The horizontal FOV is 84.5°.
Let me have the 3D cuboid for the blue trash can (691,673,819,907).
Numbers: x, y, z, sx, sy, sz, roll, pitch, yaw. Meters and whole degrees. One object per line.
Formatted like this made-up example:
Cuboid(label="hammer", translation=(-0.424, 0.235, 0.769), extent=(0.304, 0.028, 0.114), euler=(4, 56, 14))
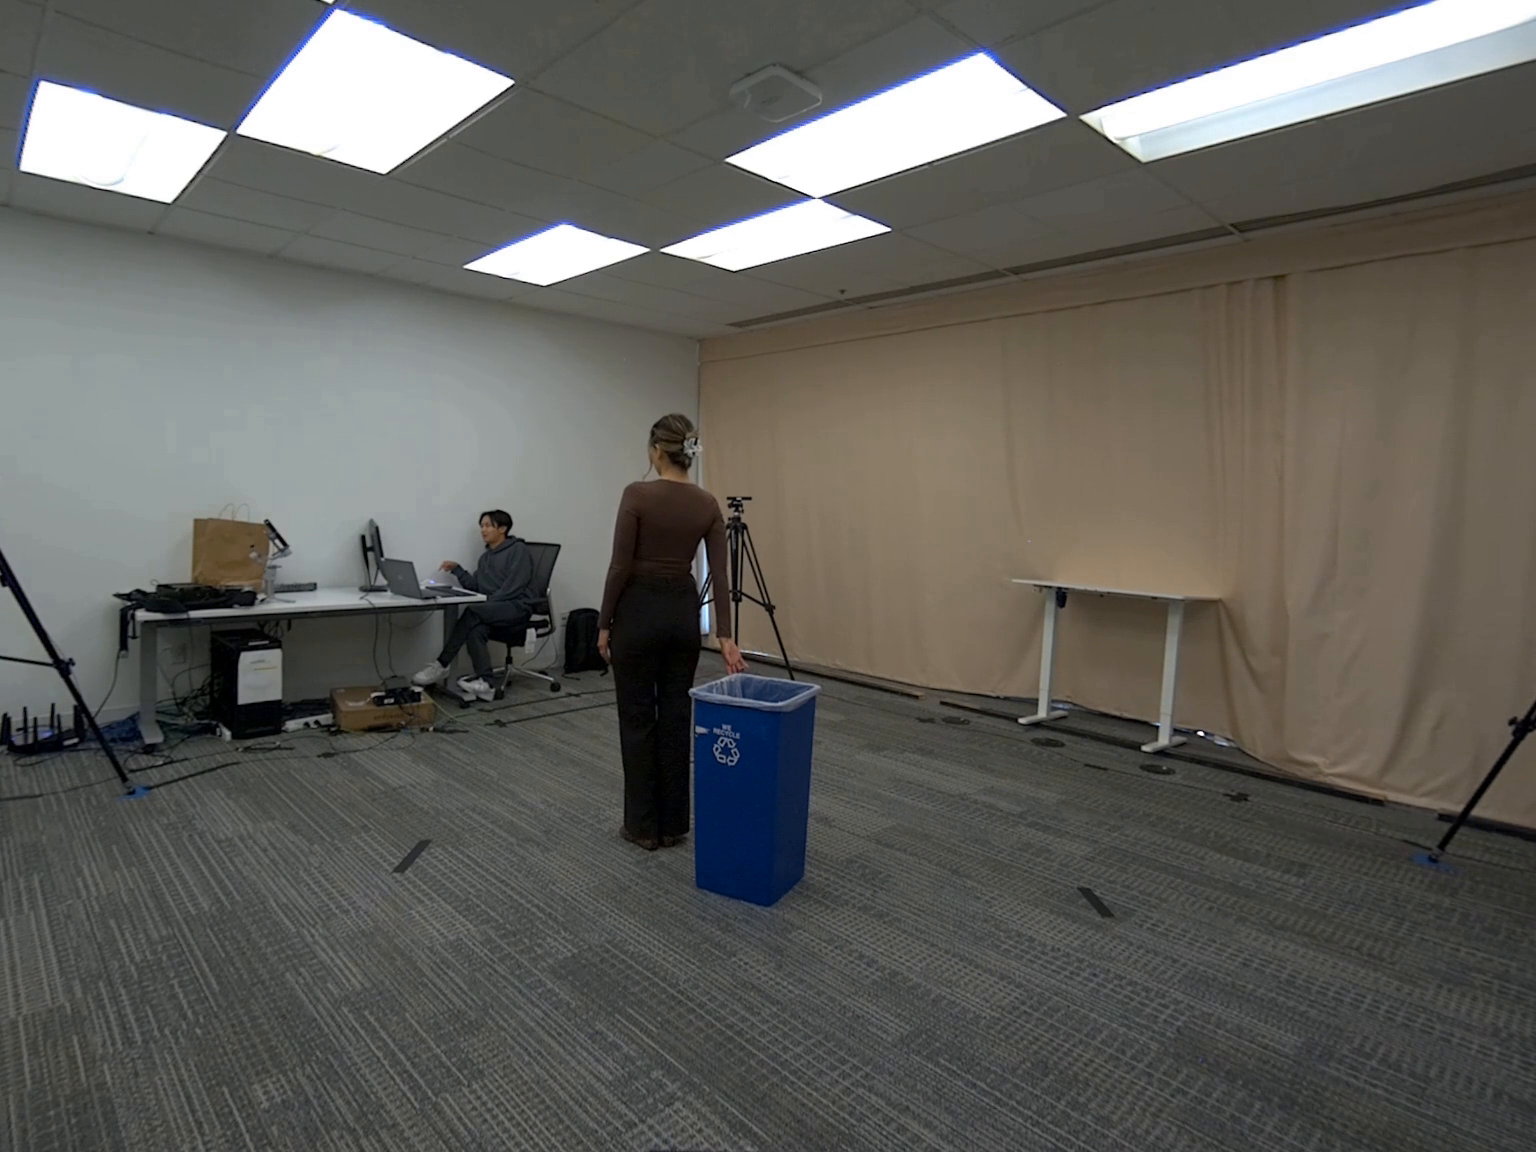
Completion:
Cuboid(label="blue trash can", translation=(-0.061, 0.754, 3.047), extent=(0.386, 0.711, 0.367), euler=(3, 5, 27))
